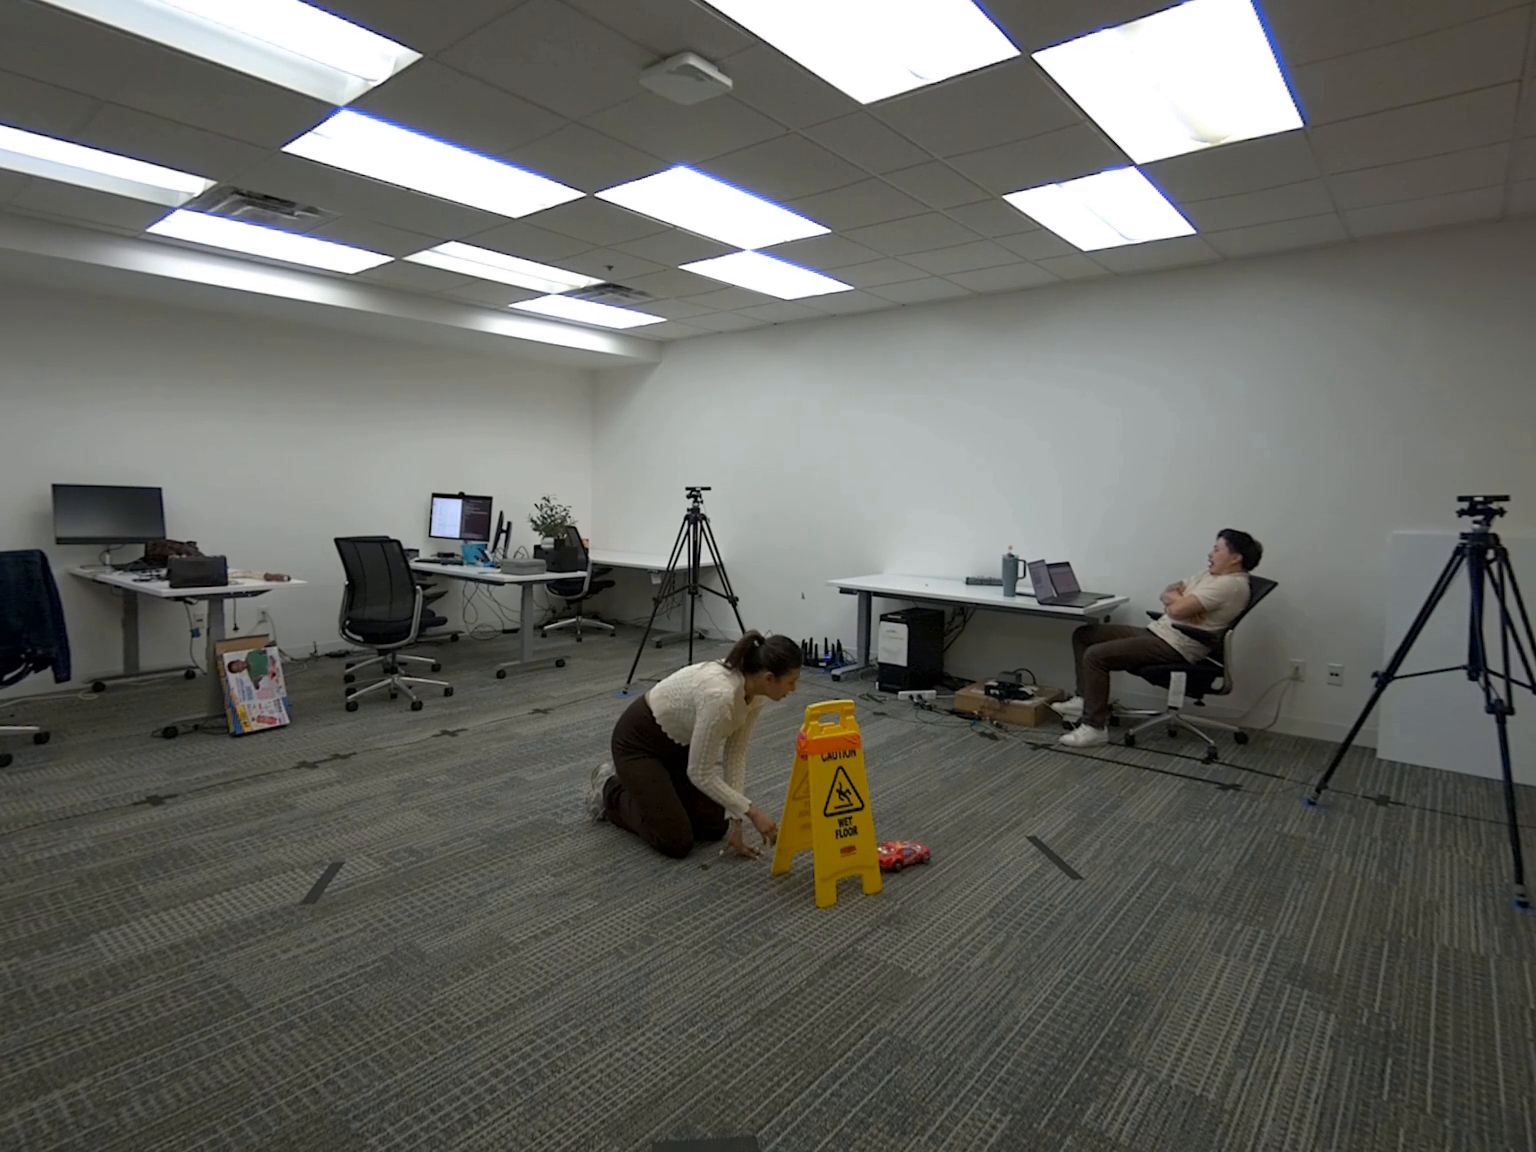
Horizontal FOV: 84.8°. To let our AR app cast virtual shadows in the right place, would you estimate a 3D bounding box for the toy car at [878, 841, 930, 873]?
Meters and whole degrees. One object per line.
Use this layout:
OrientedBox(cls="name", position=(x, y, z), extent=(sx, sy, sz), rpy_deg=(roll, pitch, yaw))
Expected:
OrientedBox(cls="toy car", position=(0.467, 1.045, 3.167), extent=(0.246, 0.083, 0.134), rpy_deg=(10, 1, -32))
